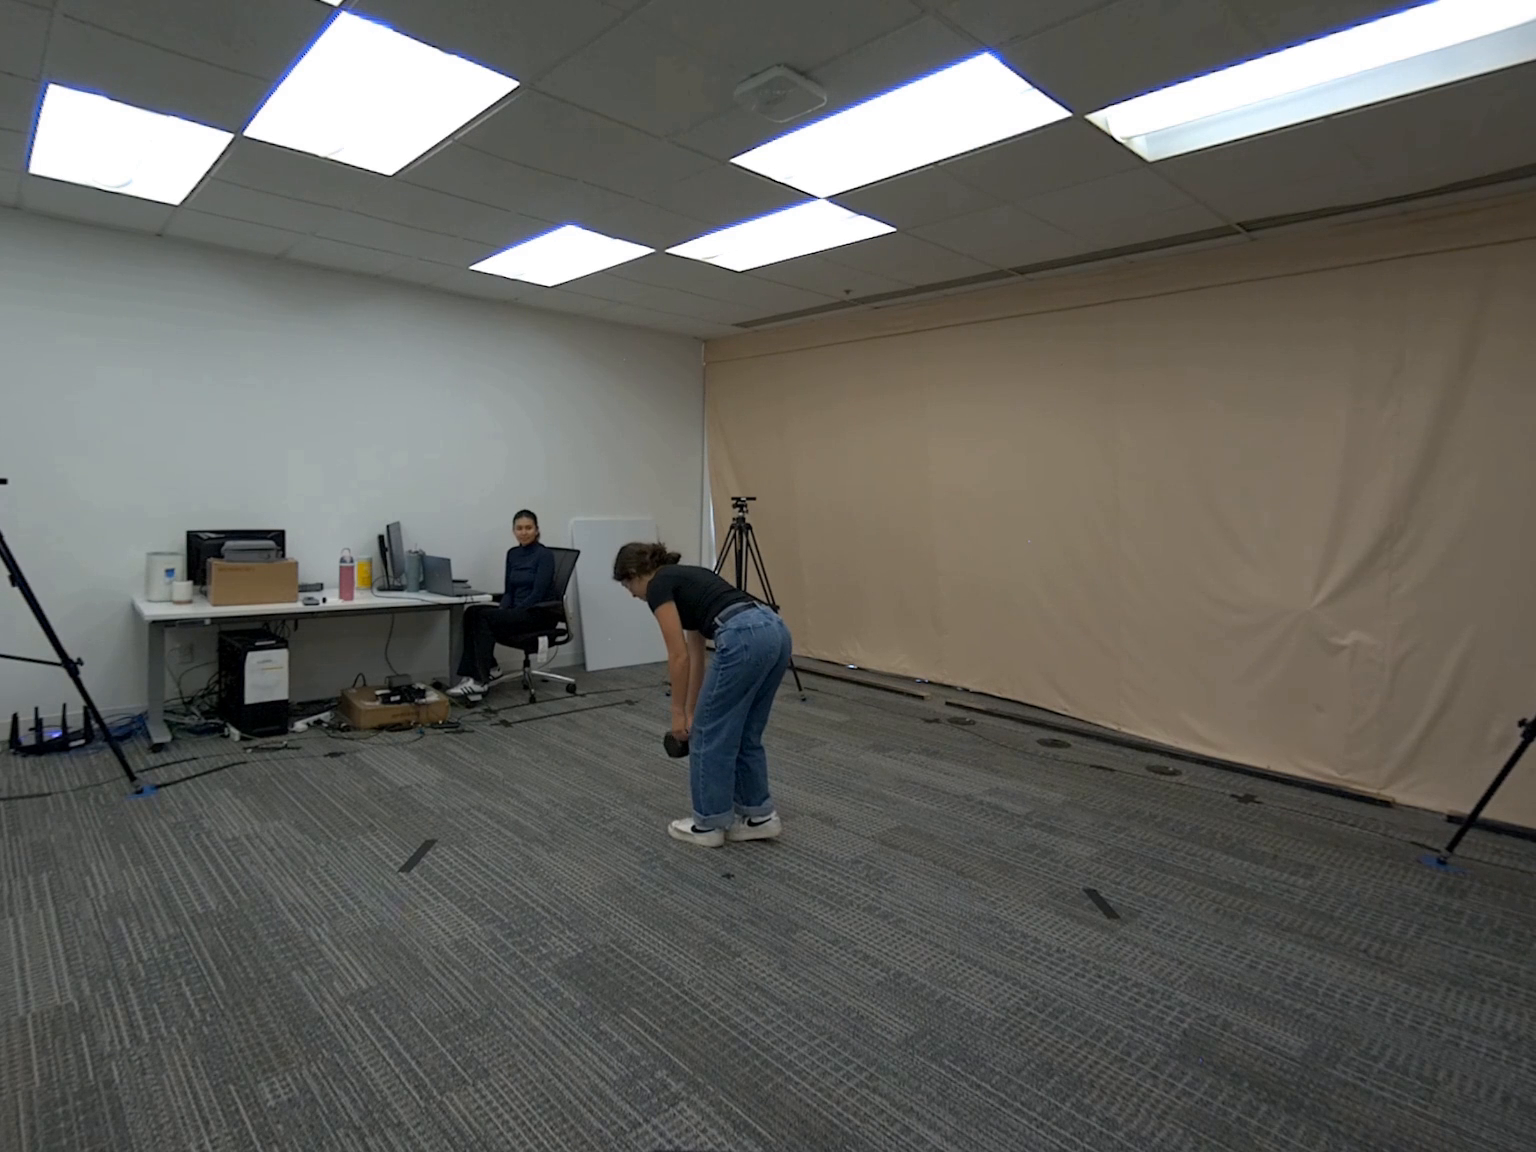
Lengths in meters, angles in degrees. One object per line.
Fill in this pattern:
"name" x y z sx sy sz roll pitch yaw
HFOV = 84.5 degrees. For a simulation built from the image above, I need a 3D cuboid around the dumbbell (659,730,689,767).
"dumbbell" -0.291 0.673 3.521 0.287 0.125 0.108 -9 -30 -47
